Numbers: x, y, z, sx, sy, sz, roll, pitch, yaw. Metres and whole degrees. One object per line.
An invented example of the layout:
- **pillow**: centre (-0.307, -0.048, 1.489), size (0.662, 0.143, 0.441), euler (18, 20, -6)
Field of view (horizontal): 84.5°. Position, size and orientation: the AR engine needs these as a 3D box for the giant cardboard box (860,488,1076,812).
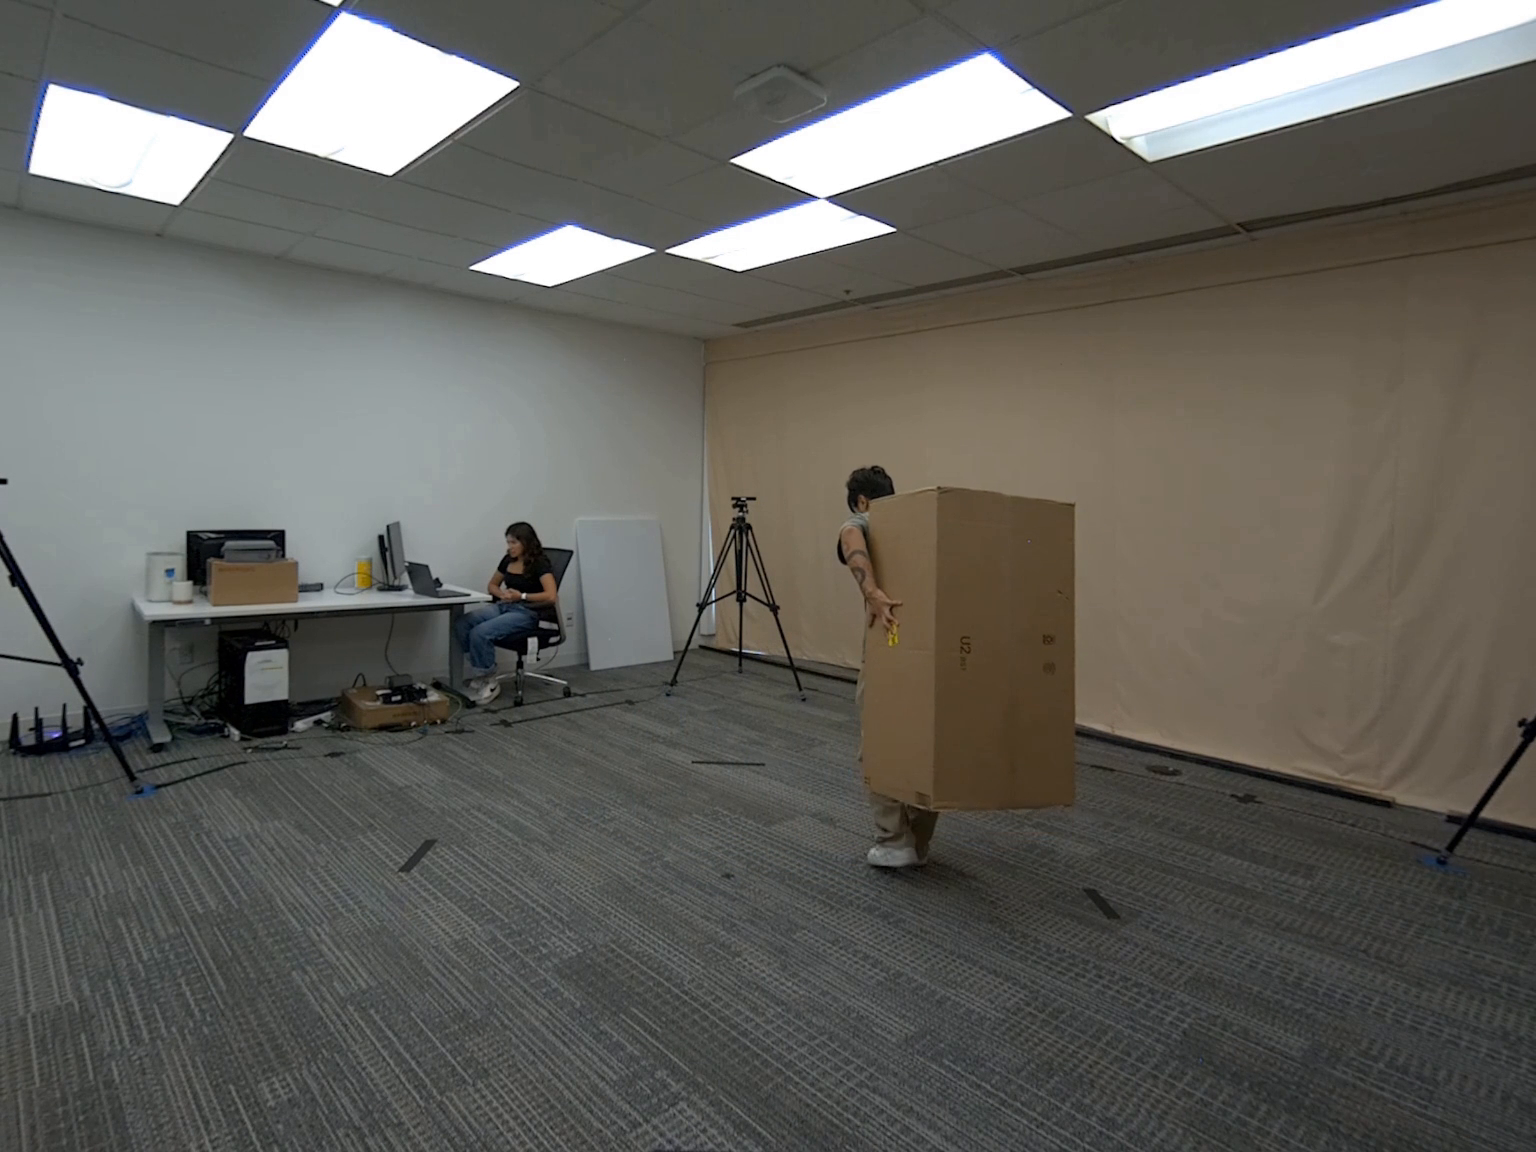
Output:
- **giant cardboard box**: centre (0.691, 0.255, 2.929), size (0.567, 1.030, 0.432), euler (5, -5, -23)
